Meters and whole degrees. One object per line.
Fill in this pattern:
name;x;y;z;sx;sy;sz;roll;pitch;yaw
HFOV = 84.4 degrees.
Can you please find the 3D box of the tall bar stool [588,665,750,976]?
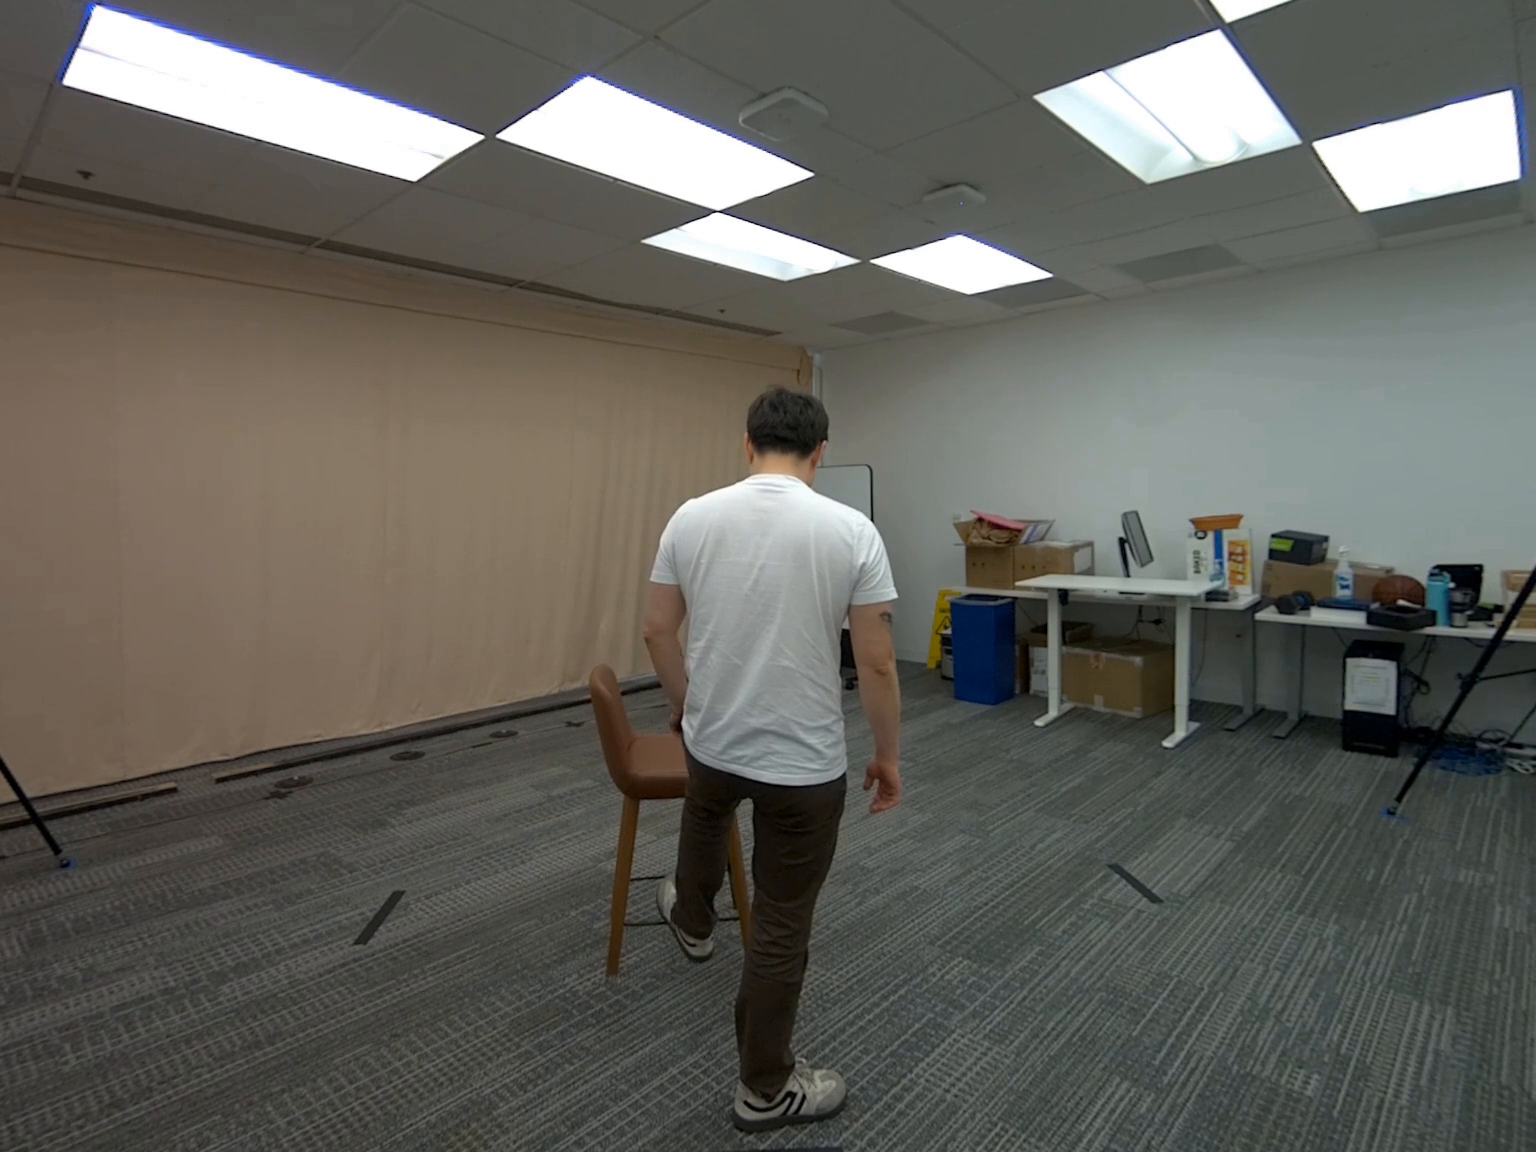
tall bar stool;-0.301;0.738;2.686;0.464;0.887;0.461;-3;4;-7
